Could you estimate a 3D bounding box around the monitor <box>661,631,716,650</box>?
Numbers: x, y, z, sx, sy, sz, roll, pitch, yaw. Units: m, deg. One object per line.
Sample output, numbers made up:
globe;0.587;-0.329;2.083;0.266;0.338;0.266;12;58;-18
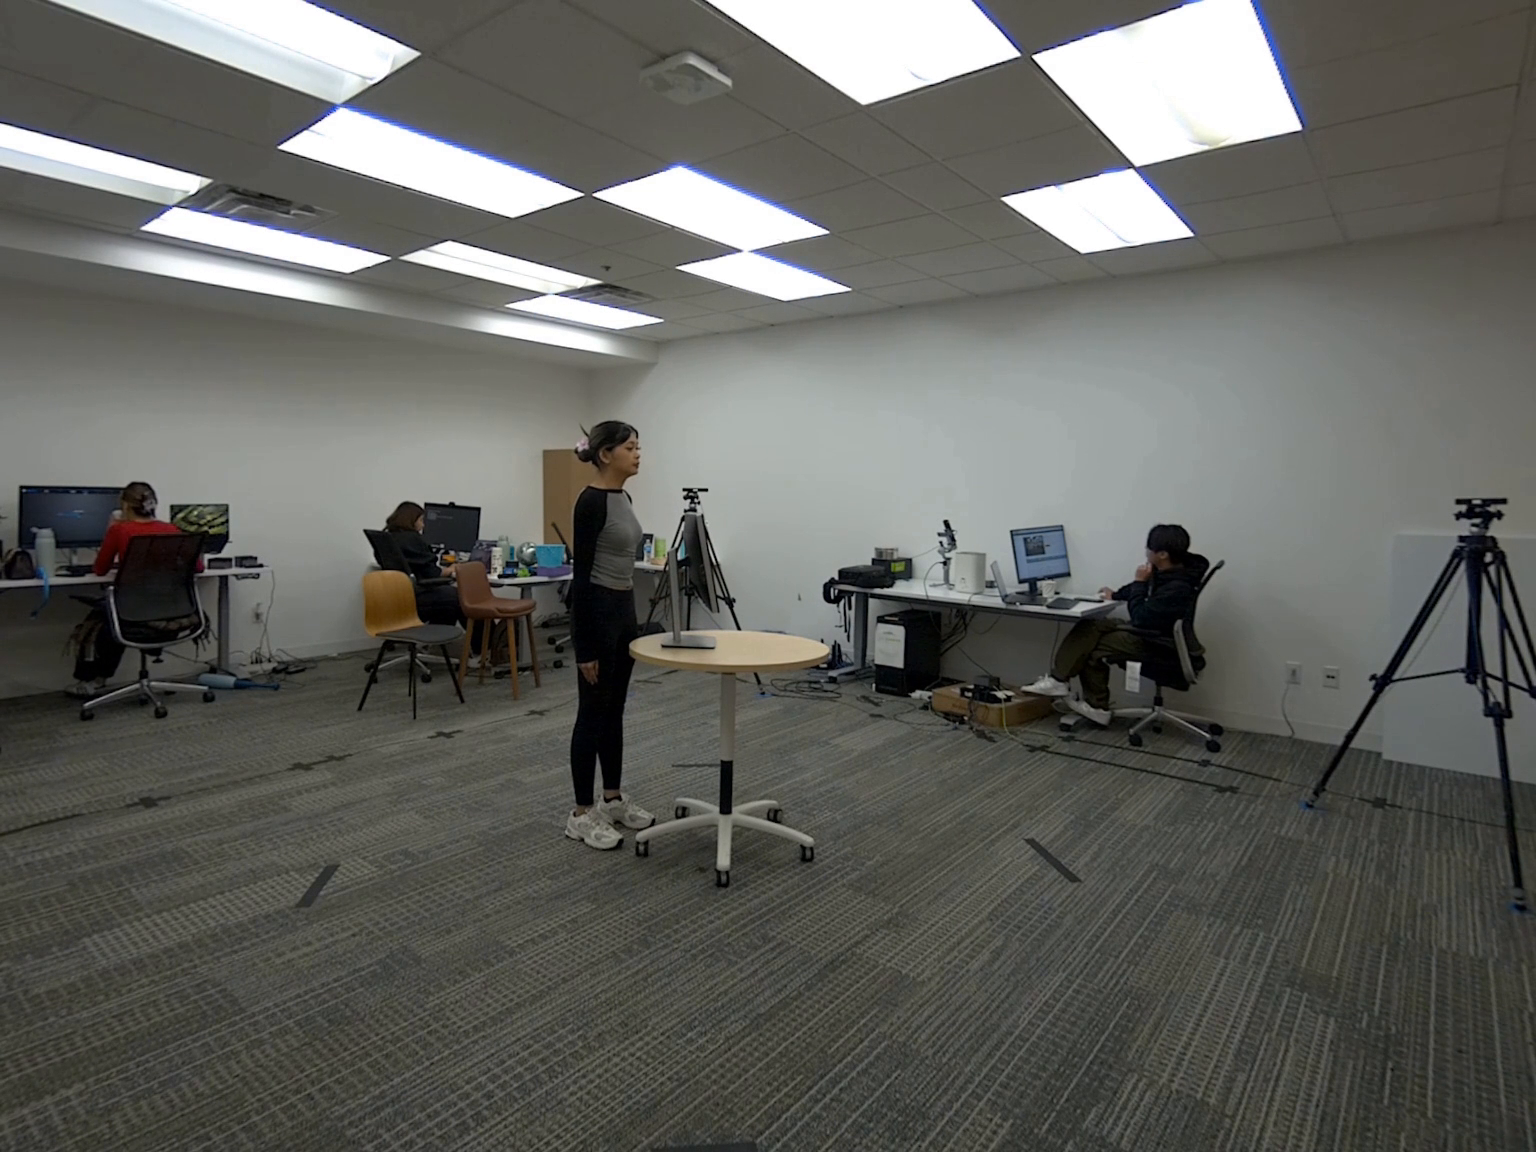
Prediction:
monitor;-0.316;0.010;3.294;0.185;0.522;0.546;3;3;-12
